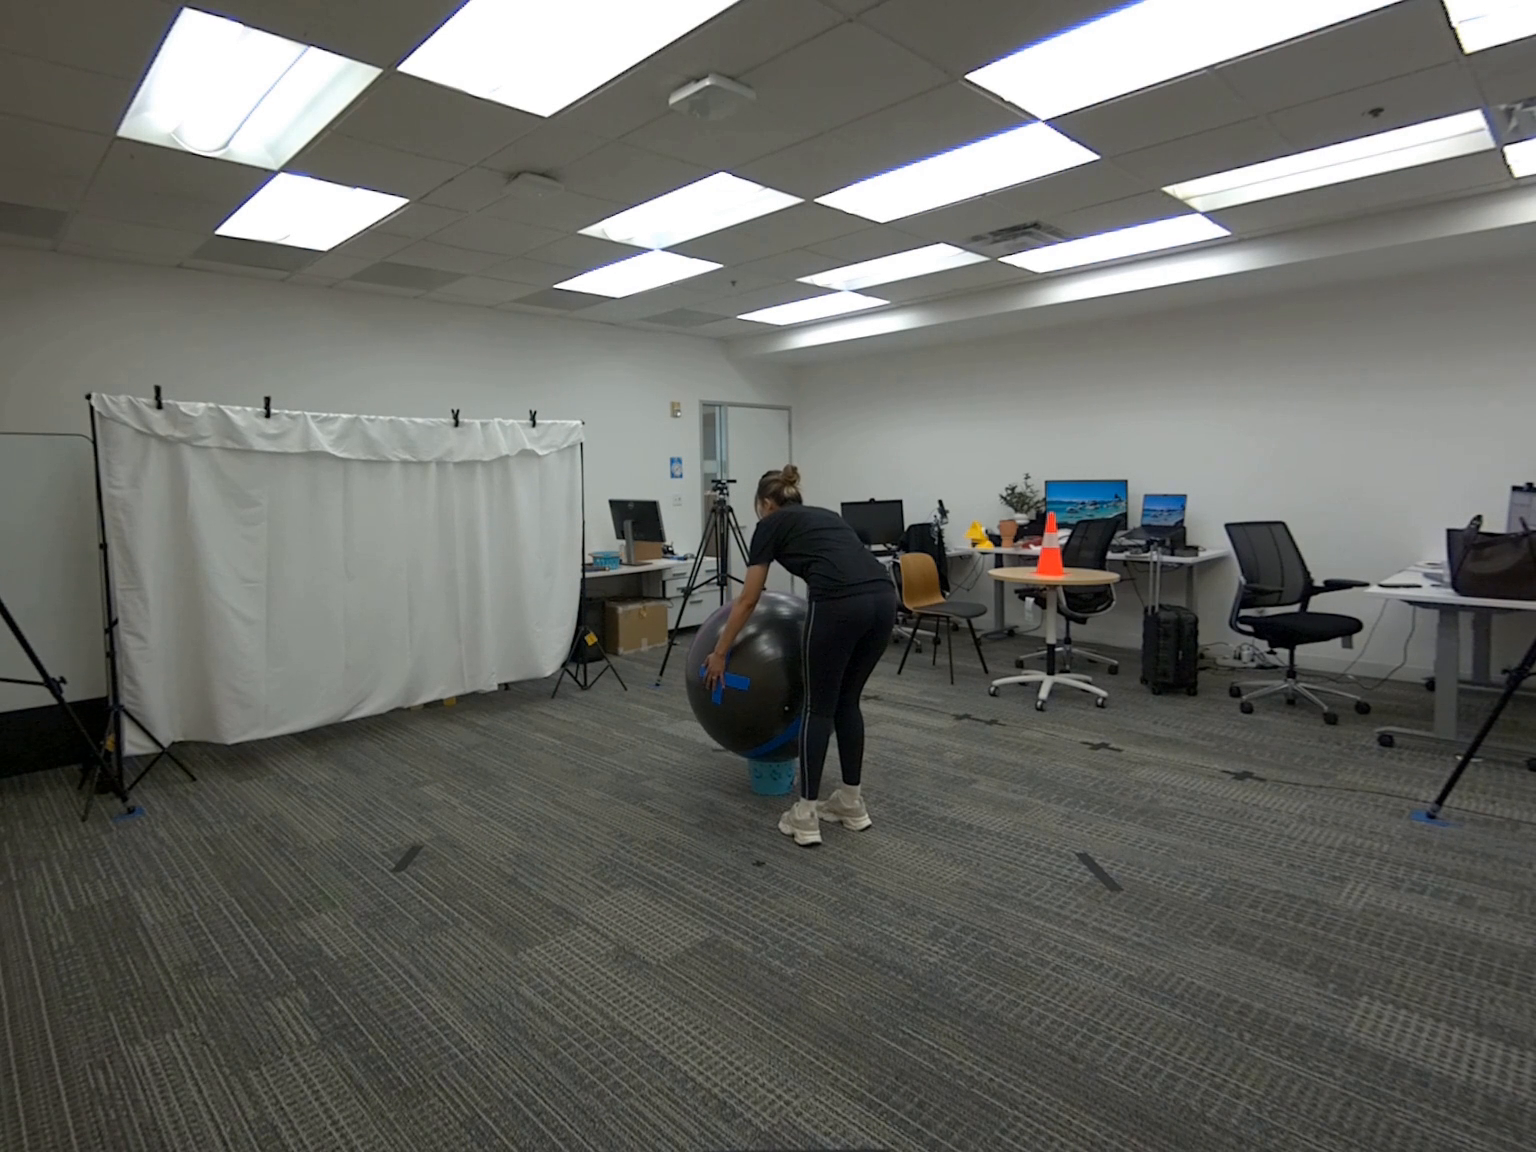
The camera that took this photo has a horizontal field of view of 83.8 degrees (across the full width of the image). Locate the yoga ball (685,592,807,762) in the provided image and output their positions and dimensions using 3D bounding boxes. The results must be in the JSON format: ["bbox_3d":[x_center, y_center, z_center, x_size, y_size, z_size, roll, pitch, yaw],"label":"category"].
[{"bbox_3d":[-0.003,0.443,3.867,0.757,0.755,0.762,-1,5,-2],"label":"yoga ball"}]
